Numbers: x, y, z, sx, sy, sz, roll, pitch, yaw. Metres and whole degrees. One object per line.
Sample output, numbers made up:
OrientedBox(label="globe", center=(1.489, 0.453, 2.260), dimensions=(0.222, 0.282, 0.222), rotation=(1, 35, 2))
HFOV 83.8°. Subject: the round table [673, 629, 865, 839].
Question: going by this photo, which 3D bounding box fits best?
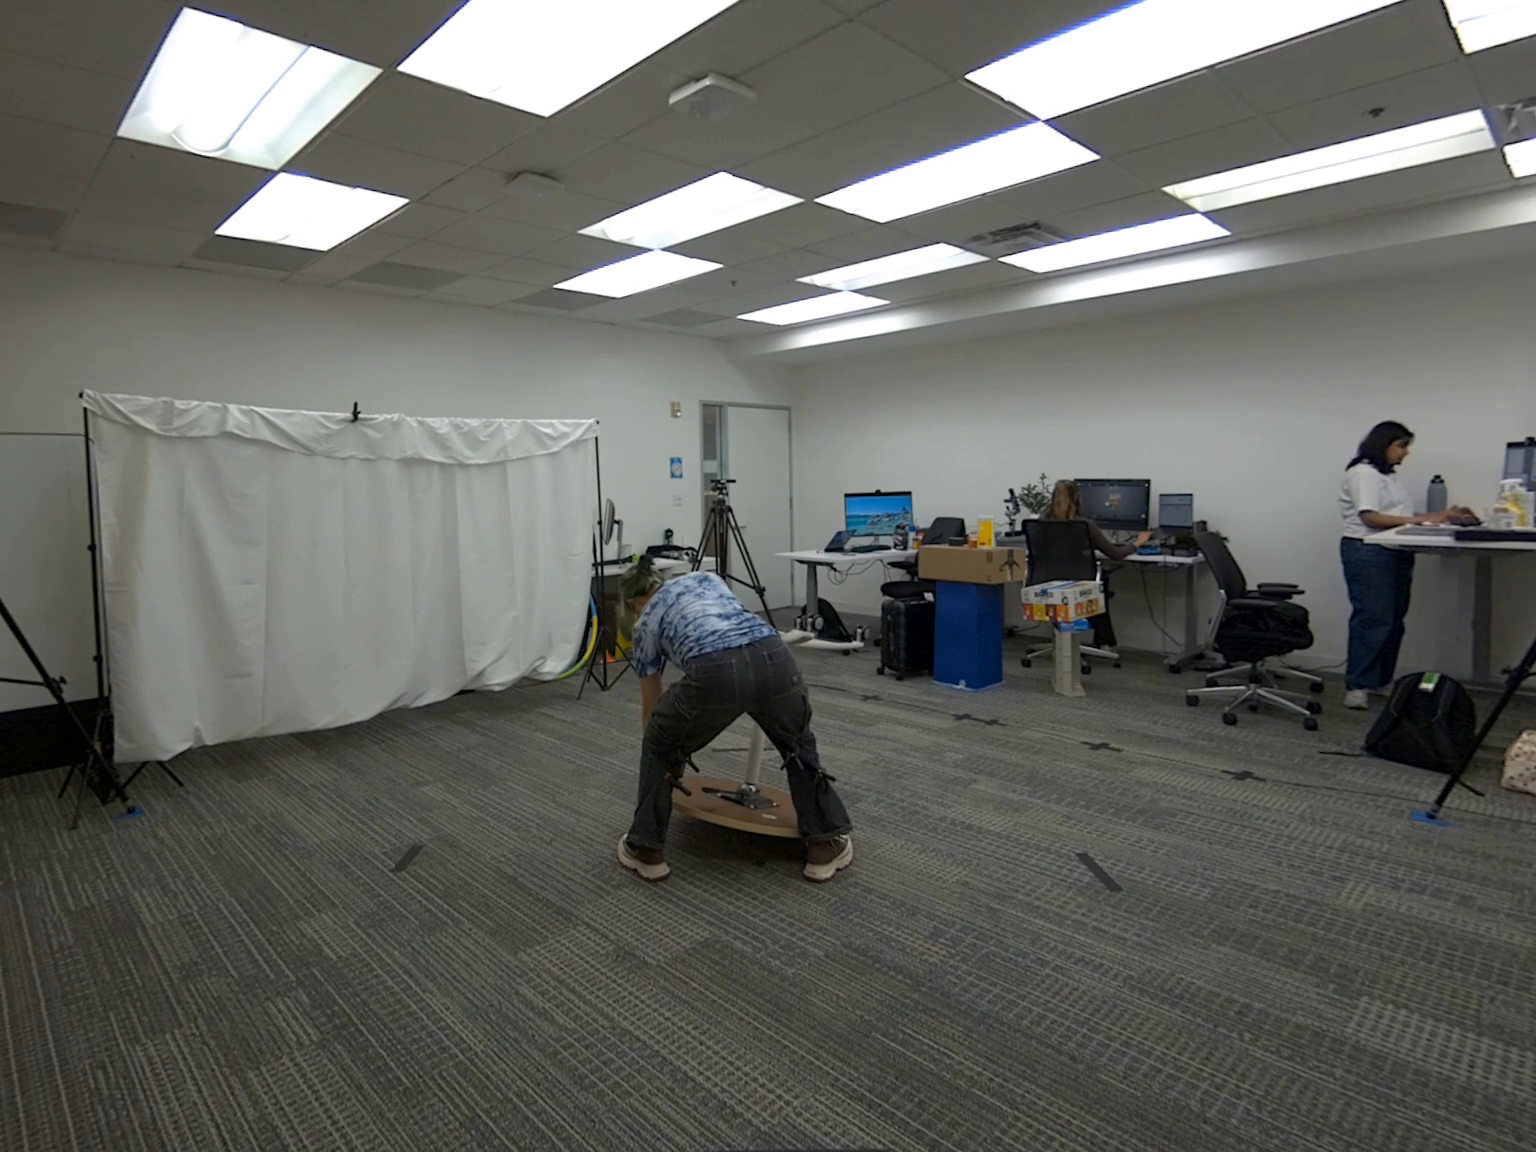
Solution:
OrientedBox(label="round table", center=(-0.015, 0.541, 3.431), dimensions=(0.764, 0.797, 0.761), rotation=(10, -5, -1))
